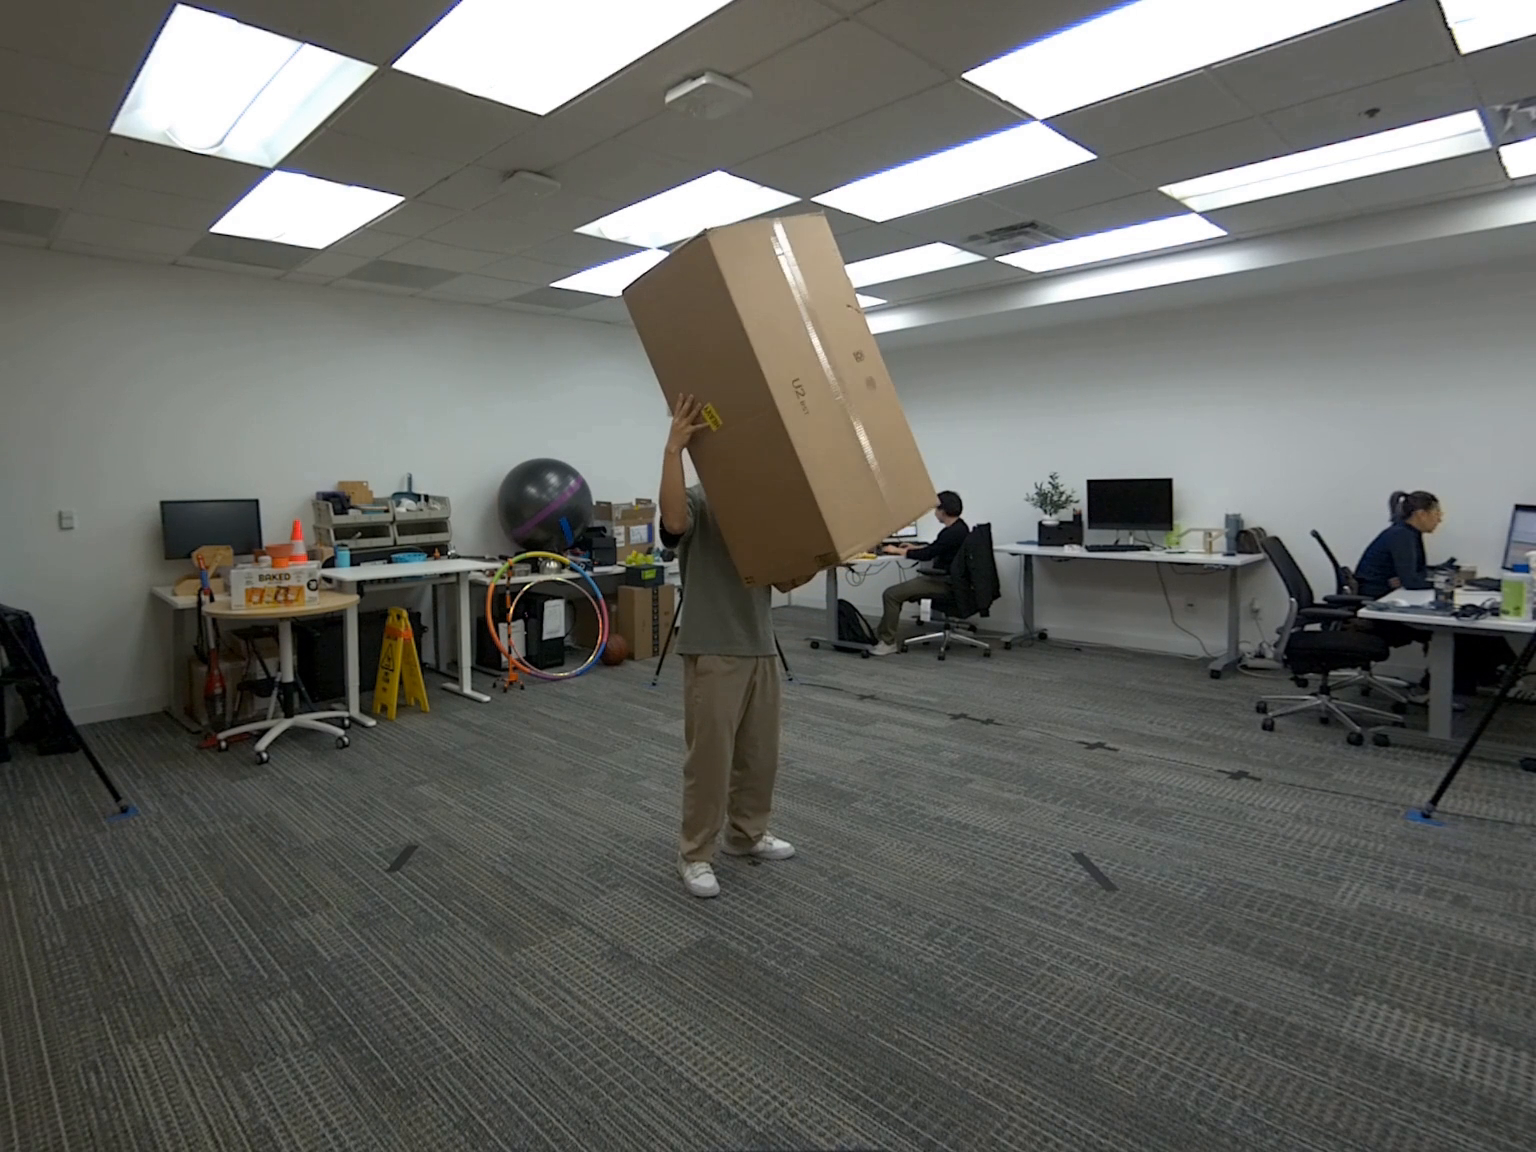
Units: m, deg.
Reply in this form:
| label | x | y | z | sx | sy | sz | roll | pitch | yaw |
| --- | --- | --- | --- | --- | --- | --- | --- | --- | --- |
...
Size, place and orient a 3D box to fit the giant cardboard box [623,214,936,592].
| label | x | y | z | sx | sy | sz | roll | pitch | yaw |
| --- | --- | --- | --- | --- | --- | --- | --- | --- | --- |
| giant cardboard box | 0.051 | -0.554 | 2.741 | 0.434 | 1.019 | 0.570 | -17 | 8 | 47 |
